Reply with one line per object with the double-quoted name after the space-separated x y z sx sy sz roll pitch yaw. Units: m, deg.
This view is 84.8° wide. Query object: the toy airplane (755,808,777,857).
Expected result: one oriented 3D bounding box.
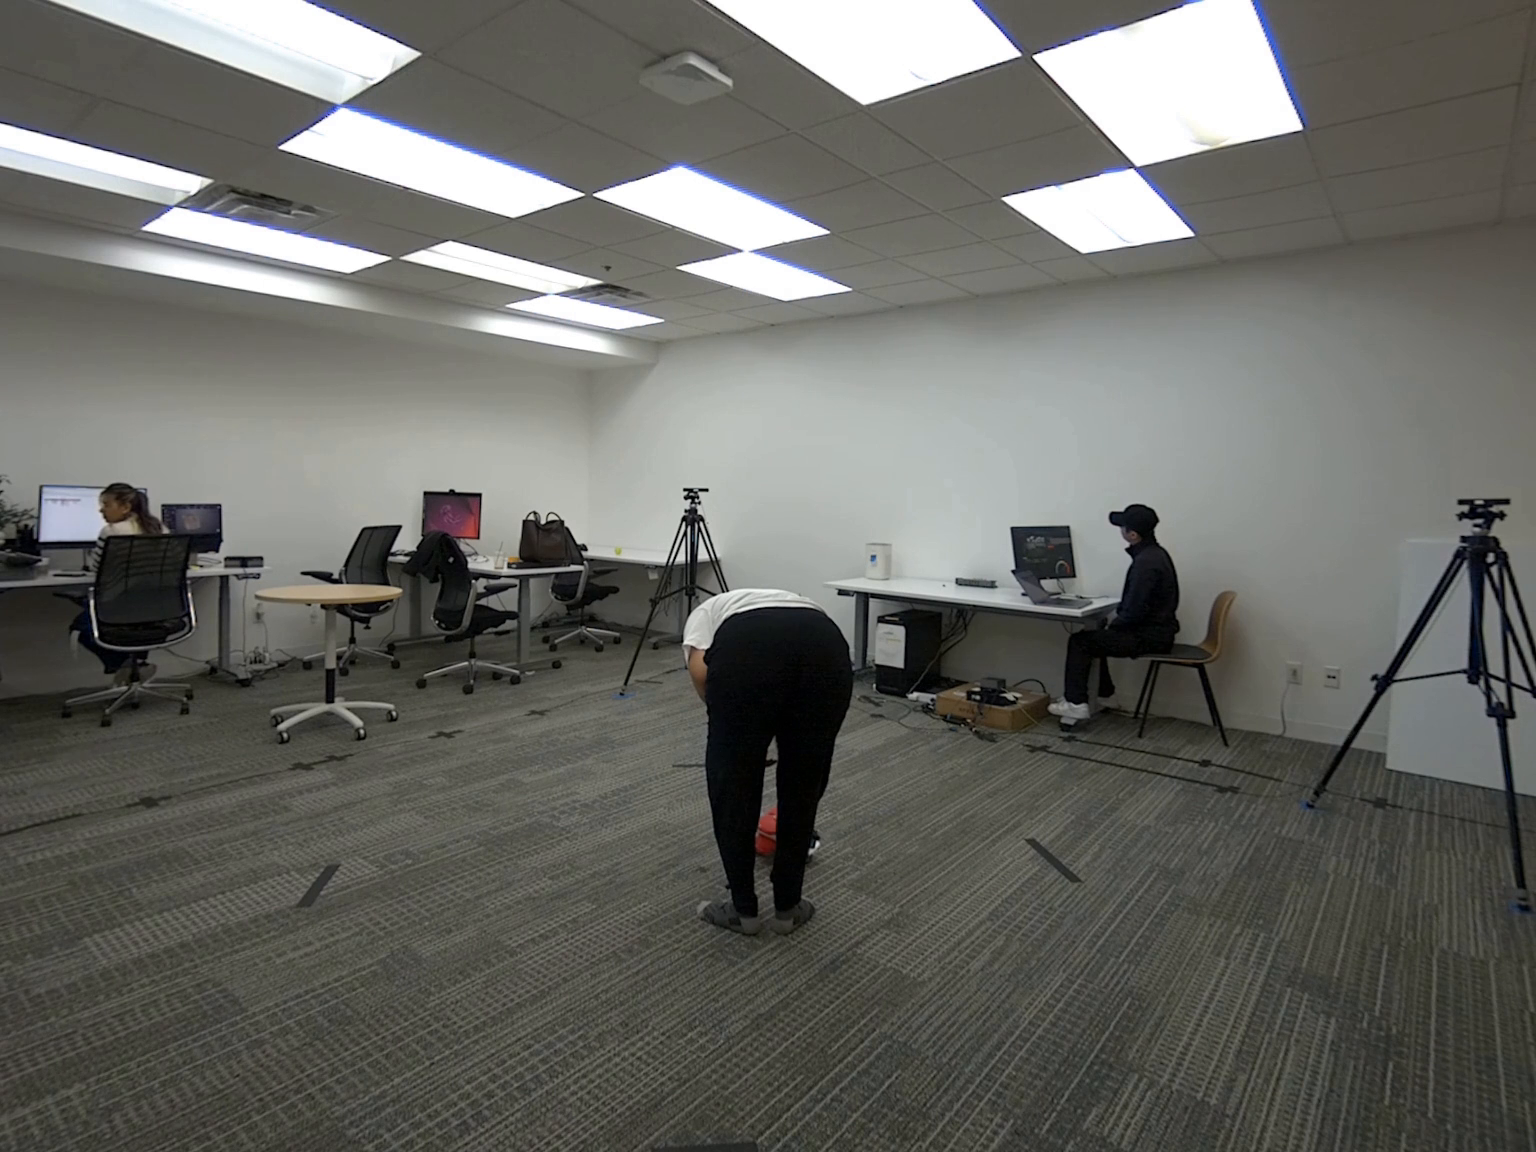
0.063 0.988 3.261 0.259 0.156 0.252 -1 4 -3 "toy airplane"
